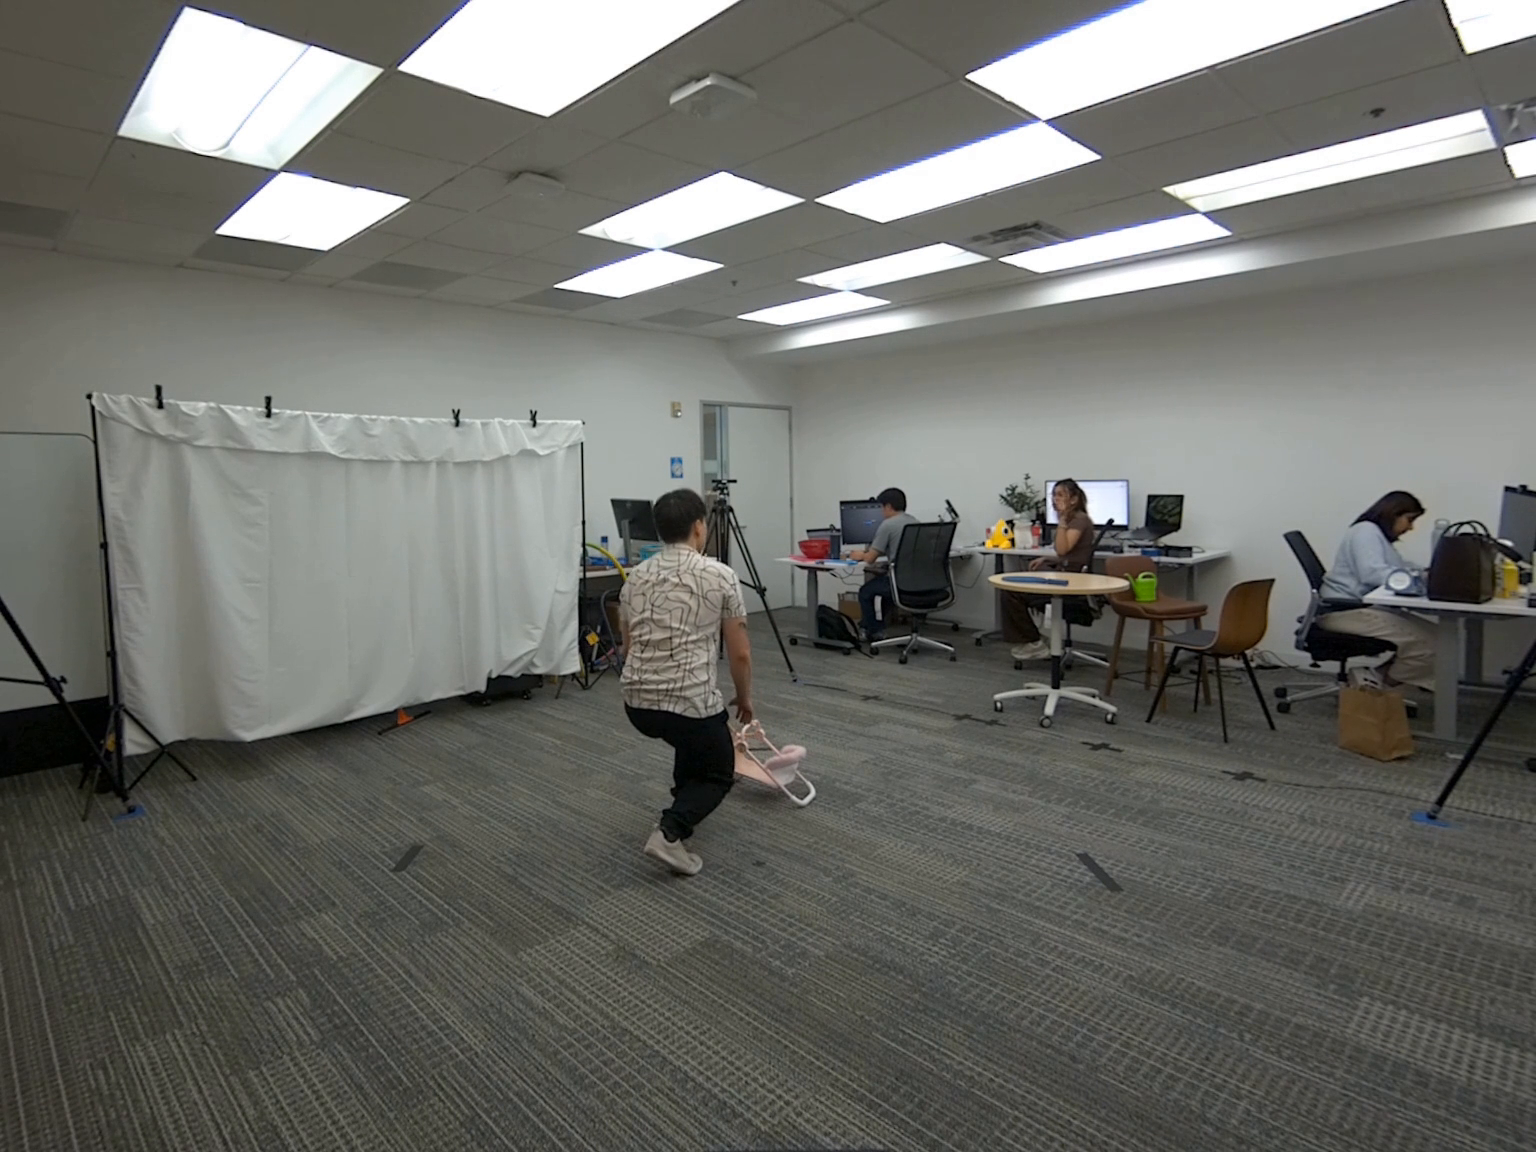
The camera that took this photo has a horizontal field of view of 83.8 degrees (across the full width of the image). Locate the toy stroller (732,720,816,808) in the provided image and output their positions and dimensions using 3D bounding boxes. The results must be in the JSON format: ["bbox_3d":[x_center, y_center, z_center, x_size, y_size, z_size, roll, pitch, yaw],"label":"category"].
[{"bbox_3d":[-0.064,0.810,3.812,0.547,0.341,0.275,0,0,27],"label":"toy stroller"}]
